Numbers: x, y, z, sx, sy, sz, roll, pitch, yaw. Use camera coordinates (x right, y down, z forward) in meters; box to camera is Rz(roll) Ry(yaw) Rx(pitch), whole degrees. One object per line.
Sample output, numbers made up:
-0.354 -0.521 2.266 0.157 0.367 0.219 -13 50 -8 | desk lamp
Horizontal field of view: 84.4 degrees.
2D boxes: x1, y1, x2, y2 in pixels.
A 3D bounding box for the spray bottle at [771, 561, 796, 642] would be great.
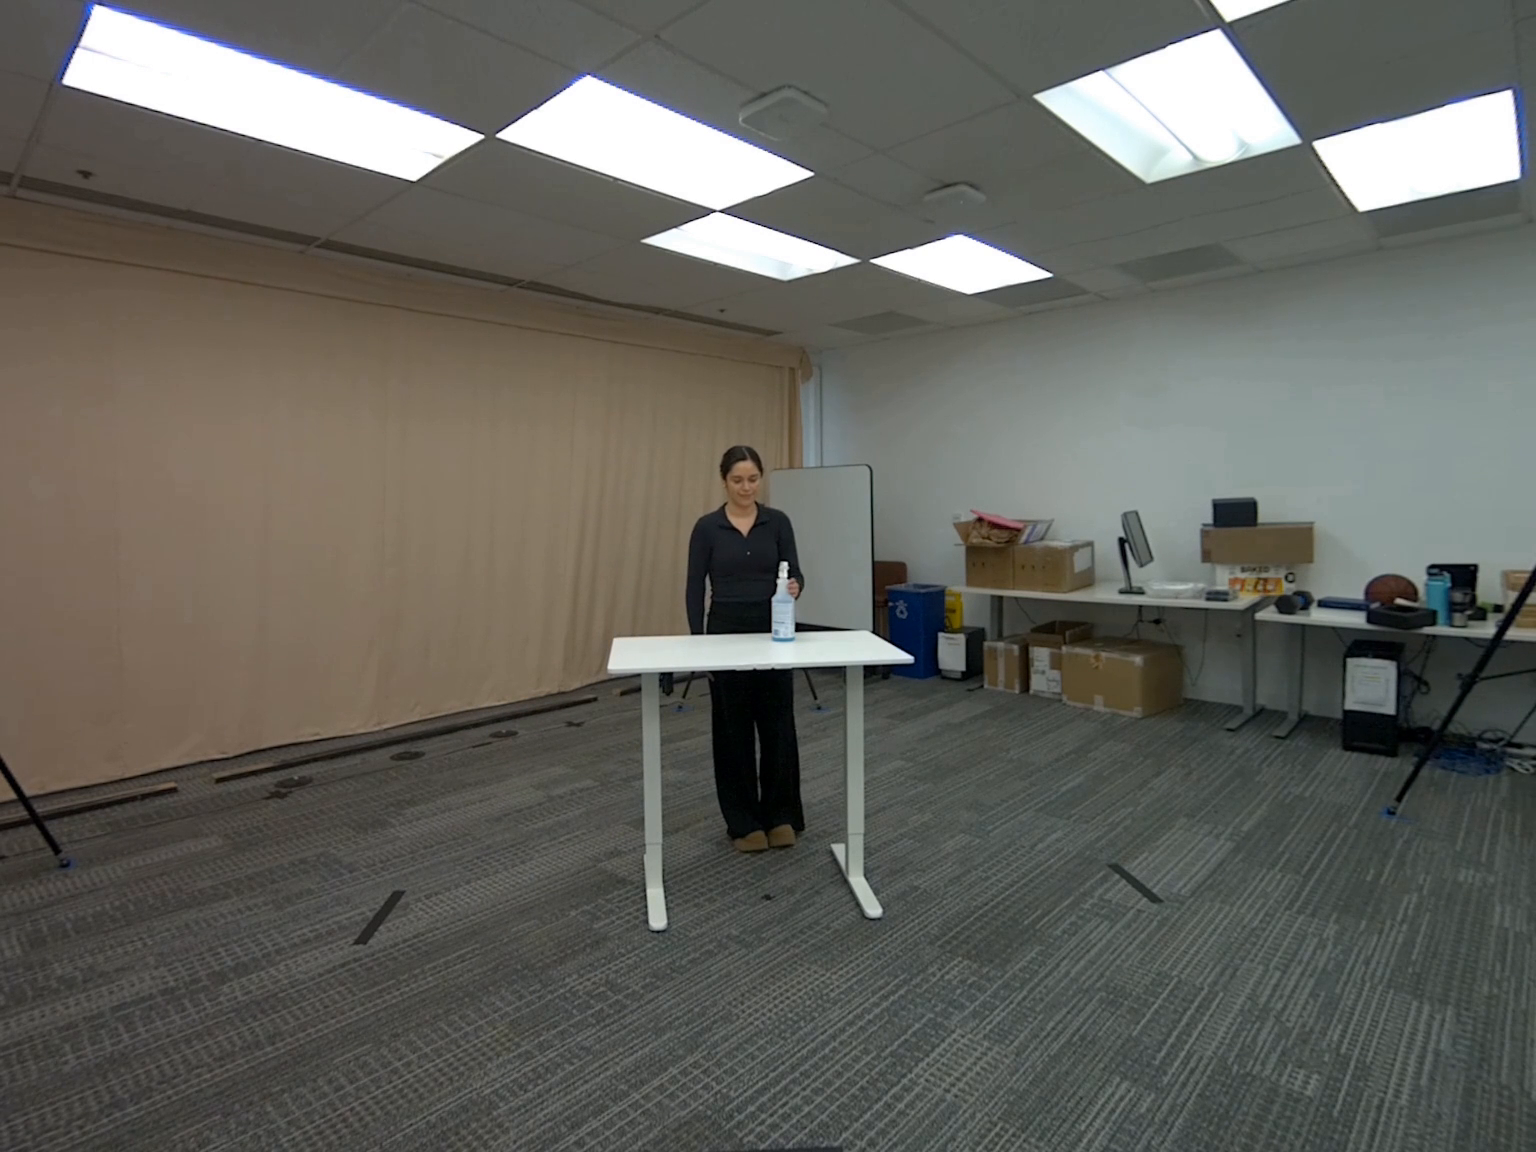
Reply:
0.058 0.096 3.153 0.088 0.296 0.089 0 6 15 | spray bottle
